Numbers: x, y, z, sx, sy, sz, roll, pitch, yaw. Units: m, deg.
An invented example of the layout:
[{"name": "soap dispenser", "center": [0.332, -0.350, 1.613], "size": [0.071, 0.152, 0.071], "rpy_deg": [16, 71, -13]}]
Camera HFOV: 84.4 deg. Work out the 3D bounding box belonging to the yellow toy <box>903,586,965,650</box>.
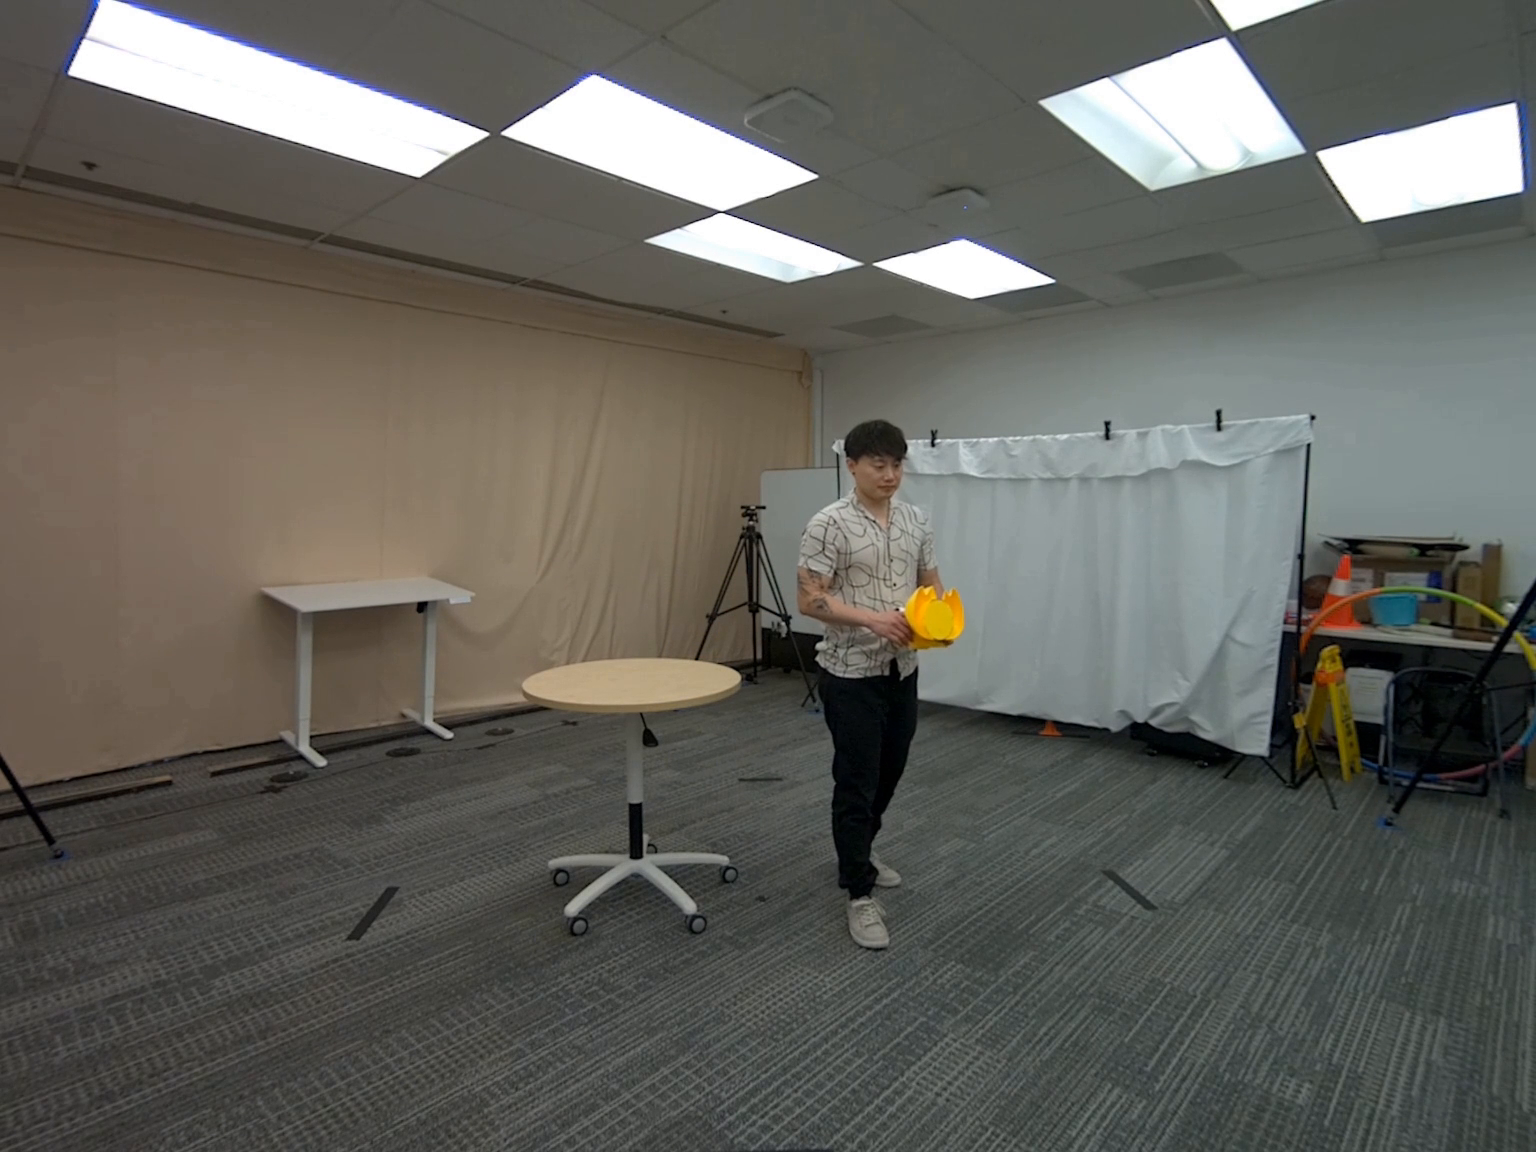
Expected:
[{"name": "yellow toy", "center": [0.464, 0.139, 2.669], "size": [0.199, 0.194, 0.236], "rpy_deg": [4, -7, -27]}]
